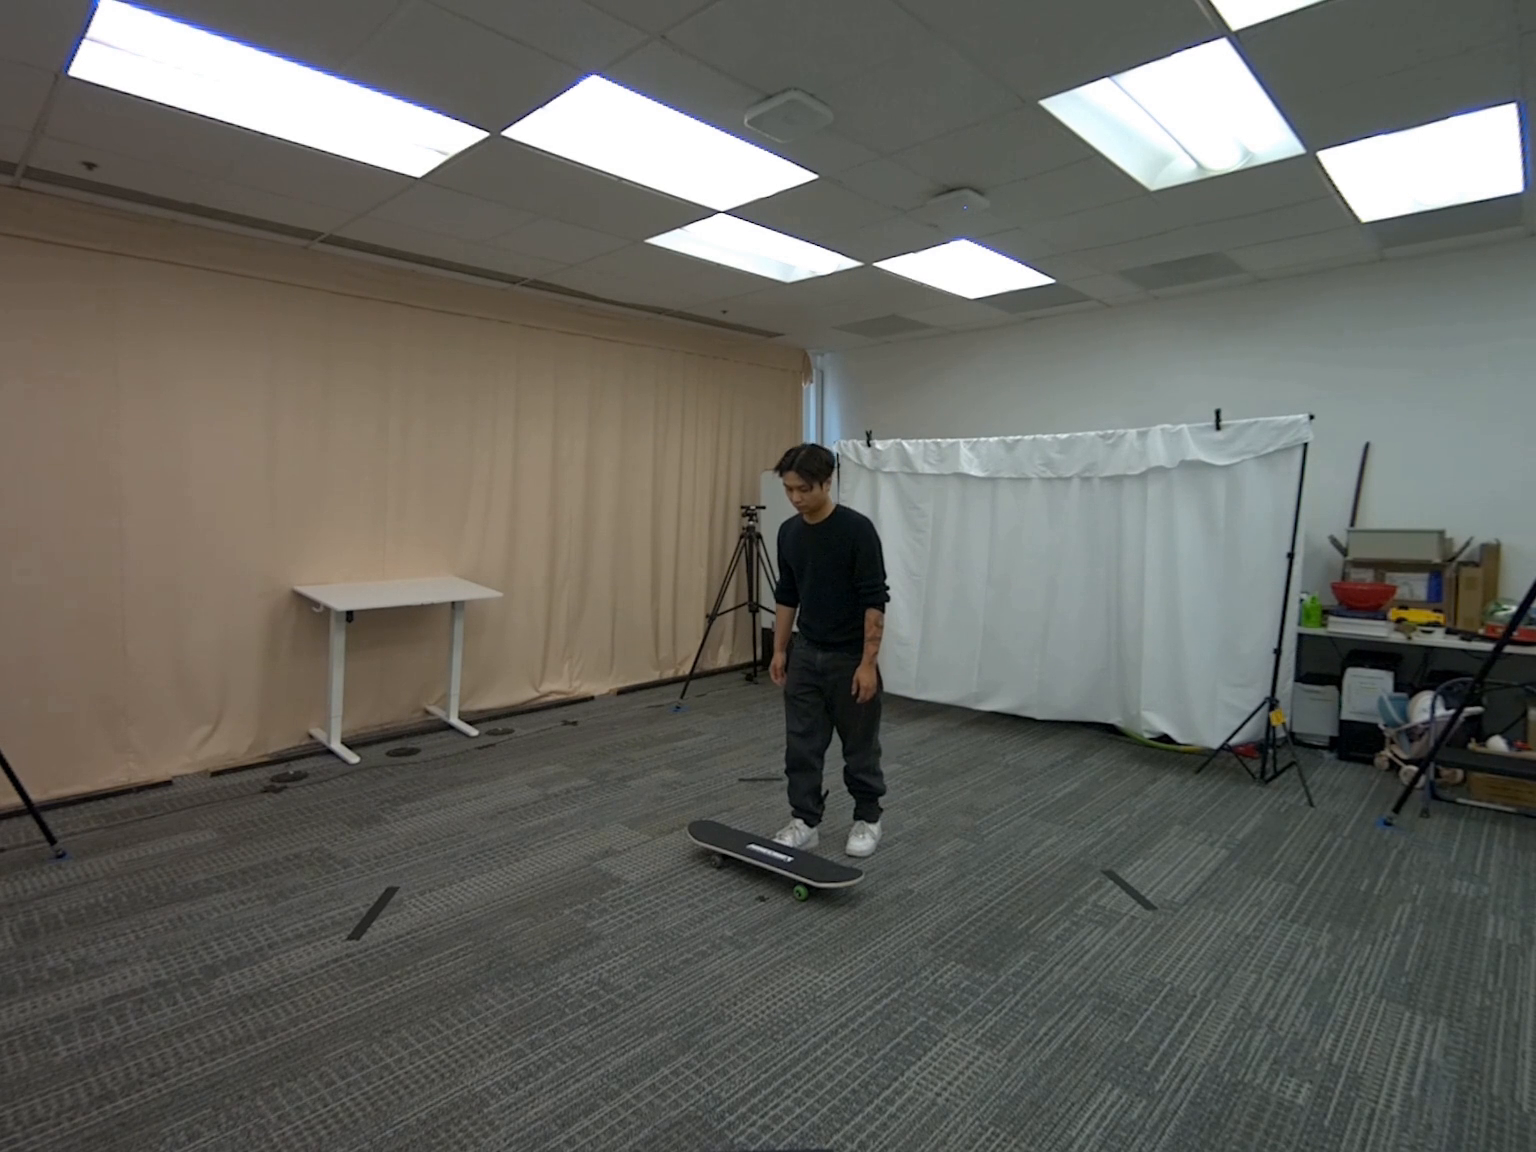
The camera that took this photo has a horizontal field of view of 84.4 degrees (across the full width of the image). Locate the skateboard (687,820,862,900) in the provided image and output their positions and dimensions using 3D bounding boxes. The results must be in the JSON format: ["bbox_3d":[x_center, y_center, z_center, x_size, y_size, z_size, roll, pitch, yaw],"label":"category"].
[{"bbox_3d":[0.016,1.067,3.163,0.811,0.110,0.188,3,6,39],"label":"skateboard"}]
